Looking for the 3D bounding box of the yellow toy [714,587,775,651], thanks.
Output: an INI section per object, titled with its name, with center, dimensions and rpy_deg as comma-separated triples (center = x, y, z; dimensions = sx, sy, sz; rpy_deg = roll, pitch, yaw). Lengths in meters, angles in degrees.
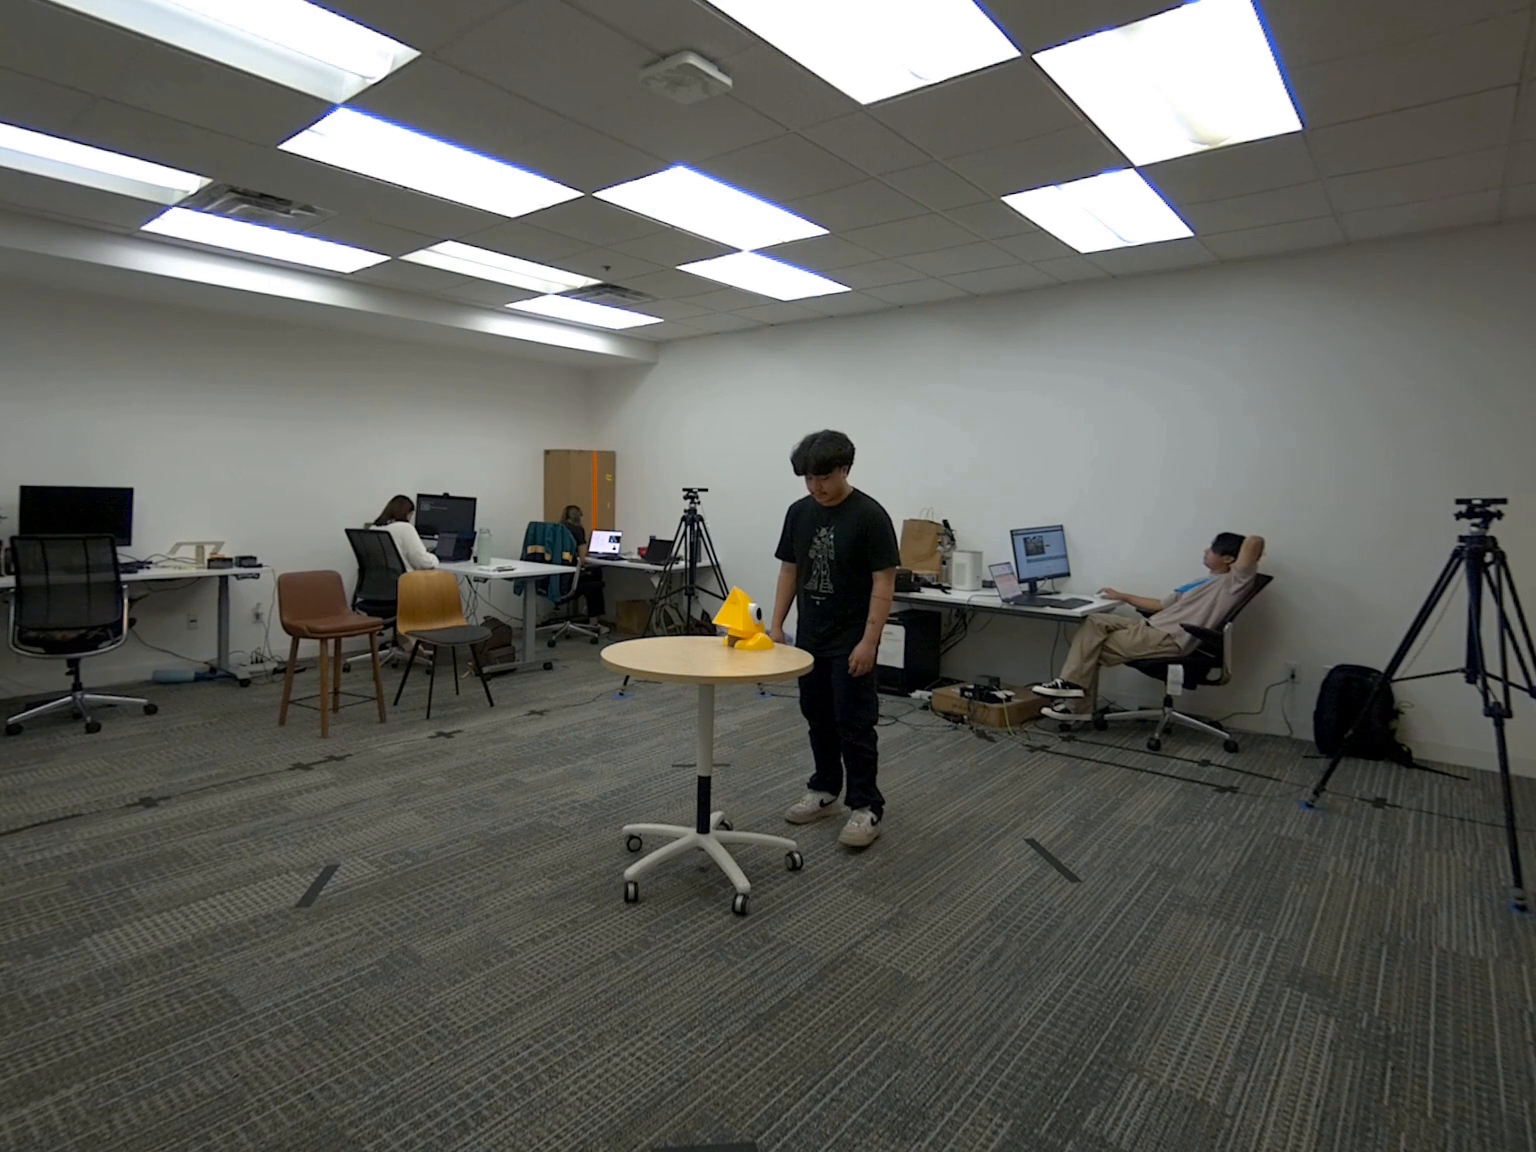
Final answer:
[yellow toy]
center = -0.095, 0.150, 3.272
dimensions = 0.187, 0.230, 0.211
rpy_deg = -1, 4, -36
